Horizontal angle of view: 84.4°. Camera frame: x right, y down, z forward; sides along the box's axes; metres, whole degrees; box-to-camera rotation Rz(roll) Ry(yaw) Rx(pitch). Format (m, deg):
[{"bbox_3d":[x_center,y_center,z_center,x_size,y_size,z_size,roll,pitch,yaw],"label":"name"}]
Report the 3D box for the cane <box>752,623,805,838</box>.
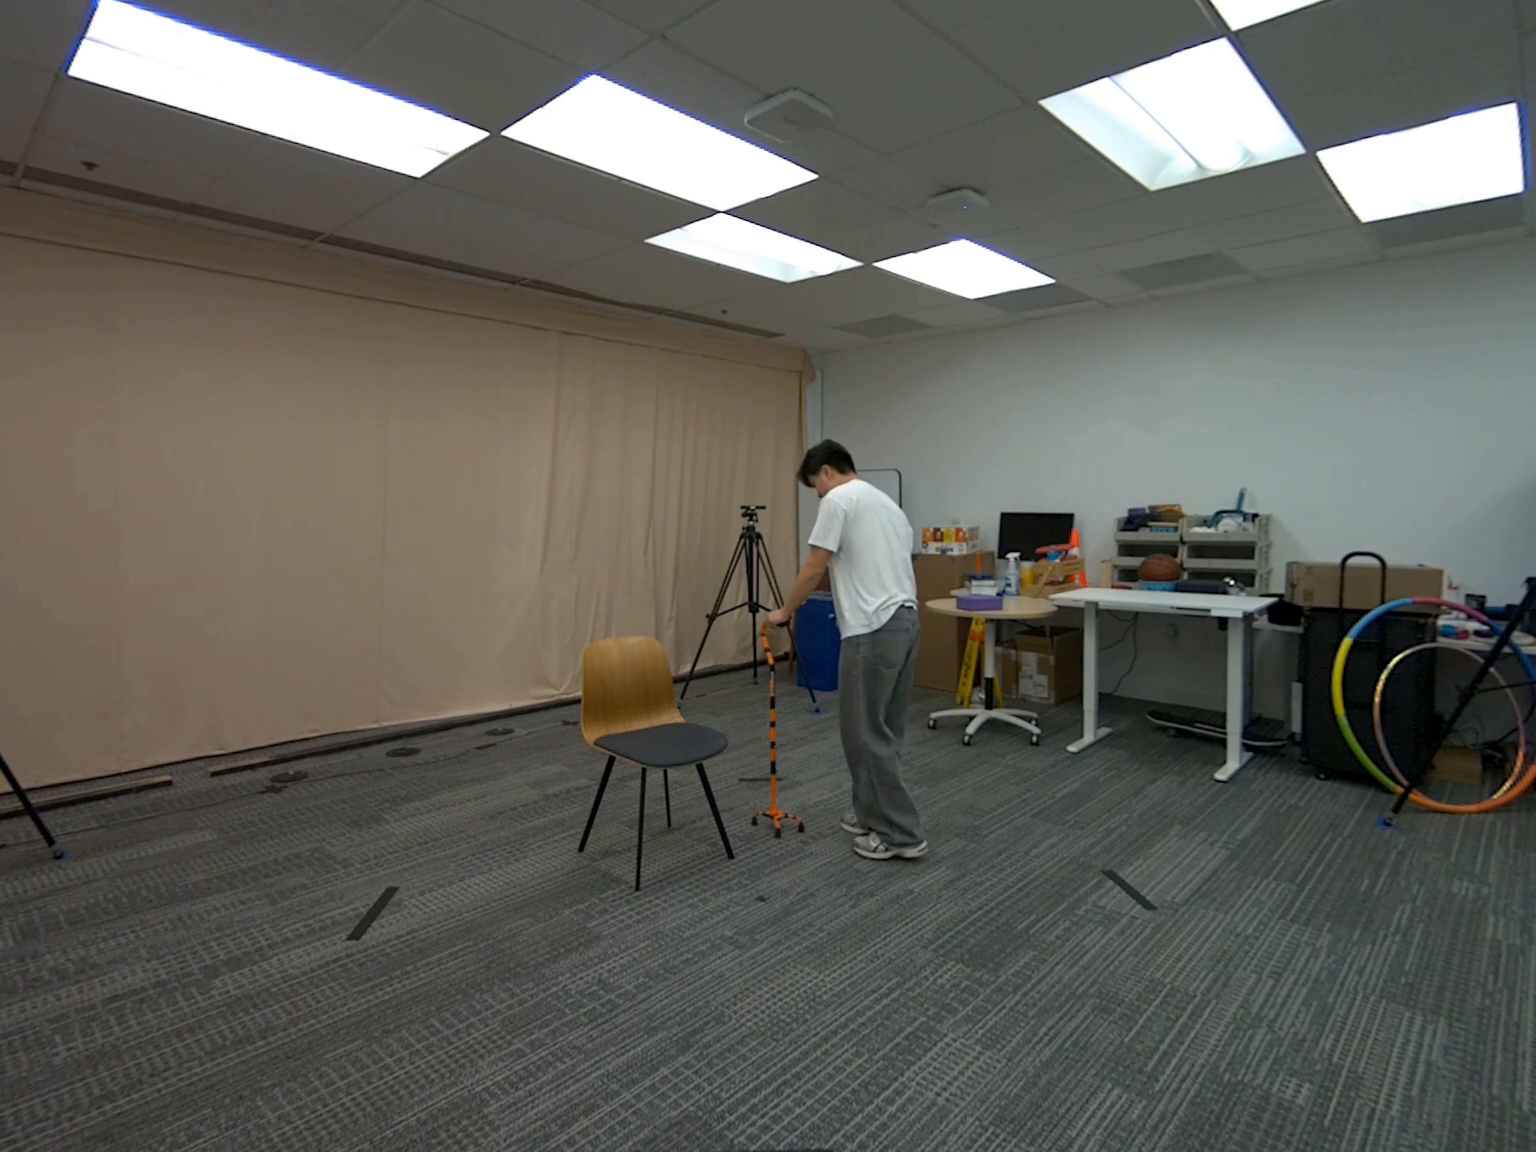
[{"bbox_3d":[0.045,0.641,3.636,0.147,0.907,0.213,-3,2,-35],"label":"cane"}]
